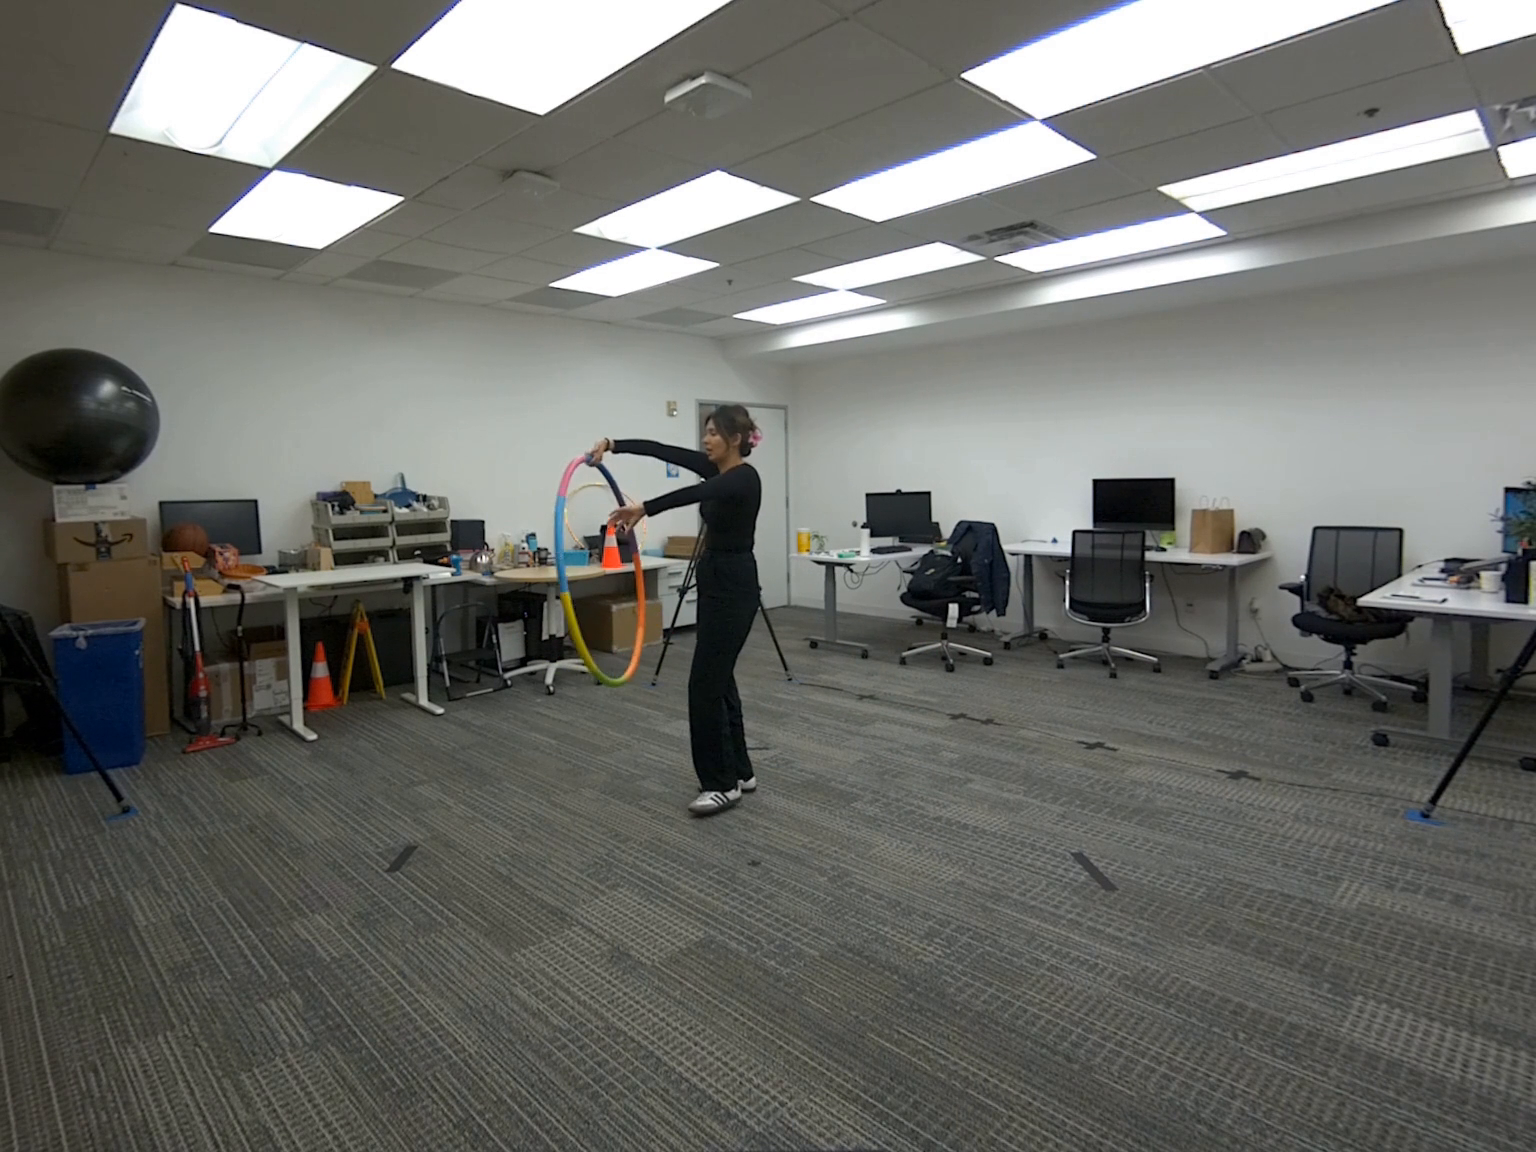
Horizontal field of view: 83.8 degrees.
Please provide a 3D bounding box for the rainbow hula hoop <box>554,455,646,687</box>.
[{"bbox_3d":[-0.702,-0.029,3.656,0.052,0.983,0.979,-8,3,9],"label":"rainbow hula hoop"}]
